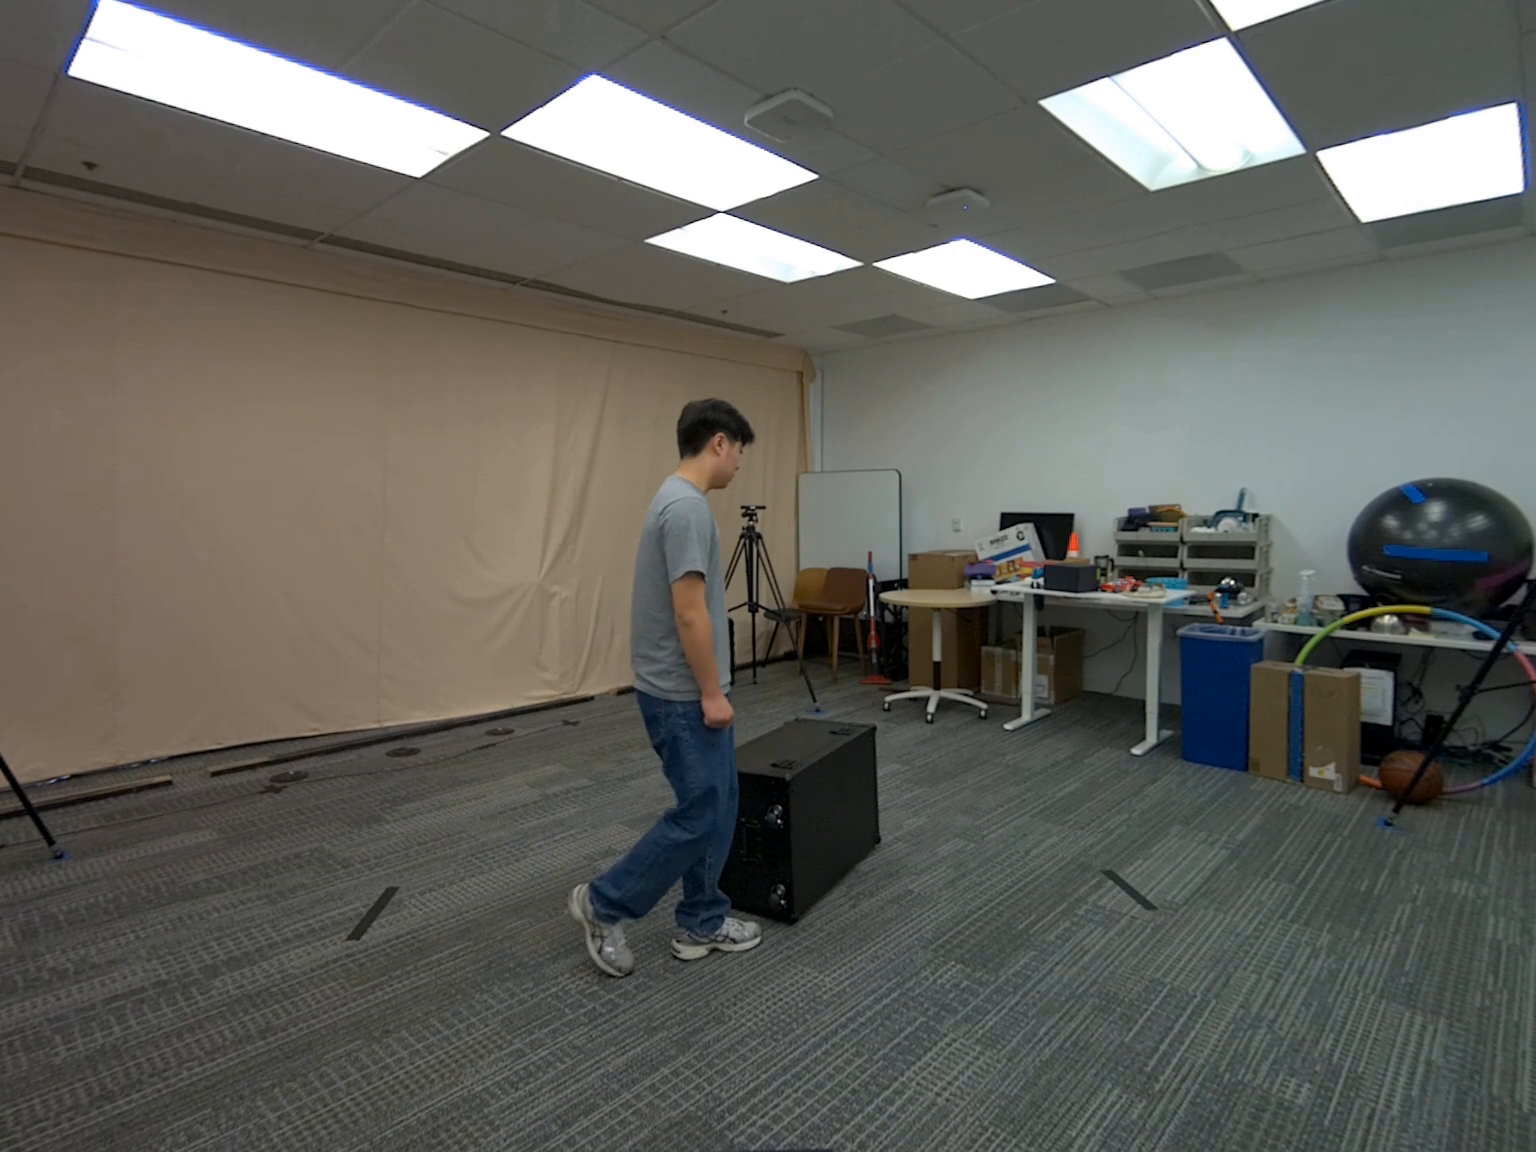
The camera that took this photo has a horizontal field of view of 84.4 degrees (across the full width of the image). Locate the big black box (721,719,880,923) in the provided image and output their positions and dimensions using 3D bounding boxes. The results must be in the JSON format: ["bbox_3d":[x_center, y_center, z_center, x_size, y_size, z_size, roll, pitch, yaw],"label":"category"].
[{"bbox_3d":[0.087,0.871,3.171,0.407,0.520,0.839,0,3,29],"label":"big black box"}]
